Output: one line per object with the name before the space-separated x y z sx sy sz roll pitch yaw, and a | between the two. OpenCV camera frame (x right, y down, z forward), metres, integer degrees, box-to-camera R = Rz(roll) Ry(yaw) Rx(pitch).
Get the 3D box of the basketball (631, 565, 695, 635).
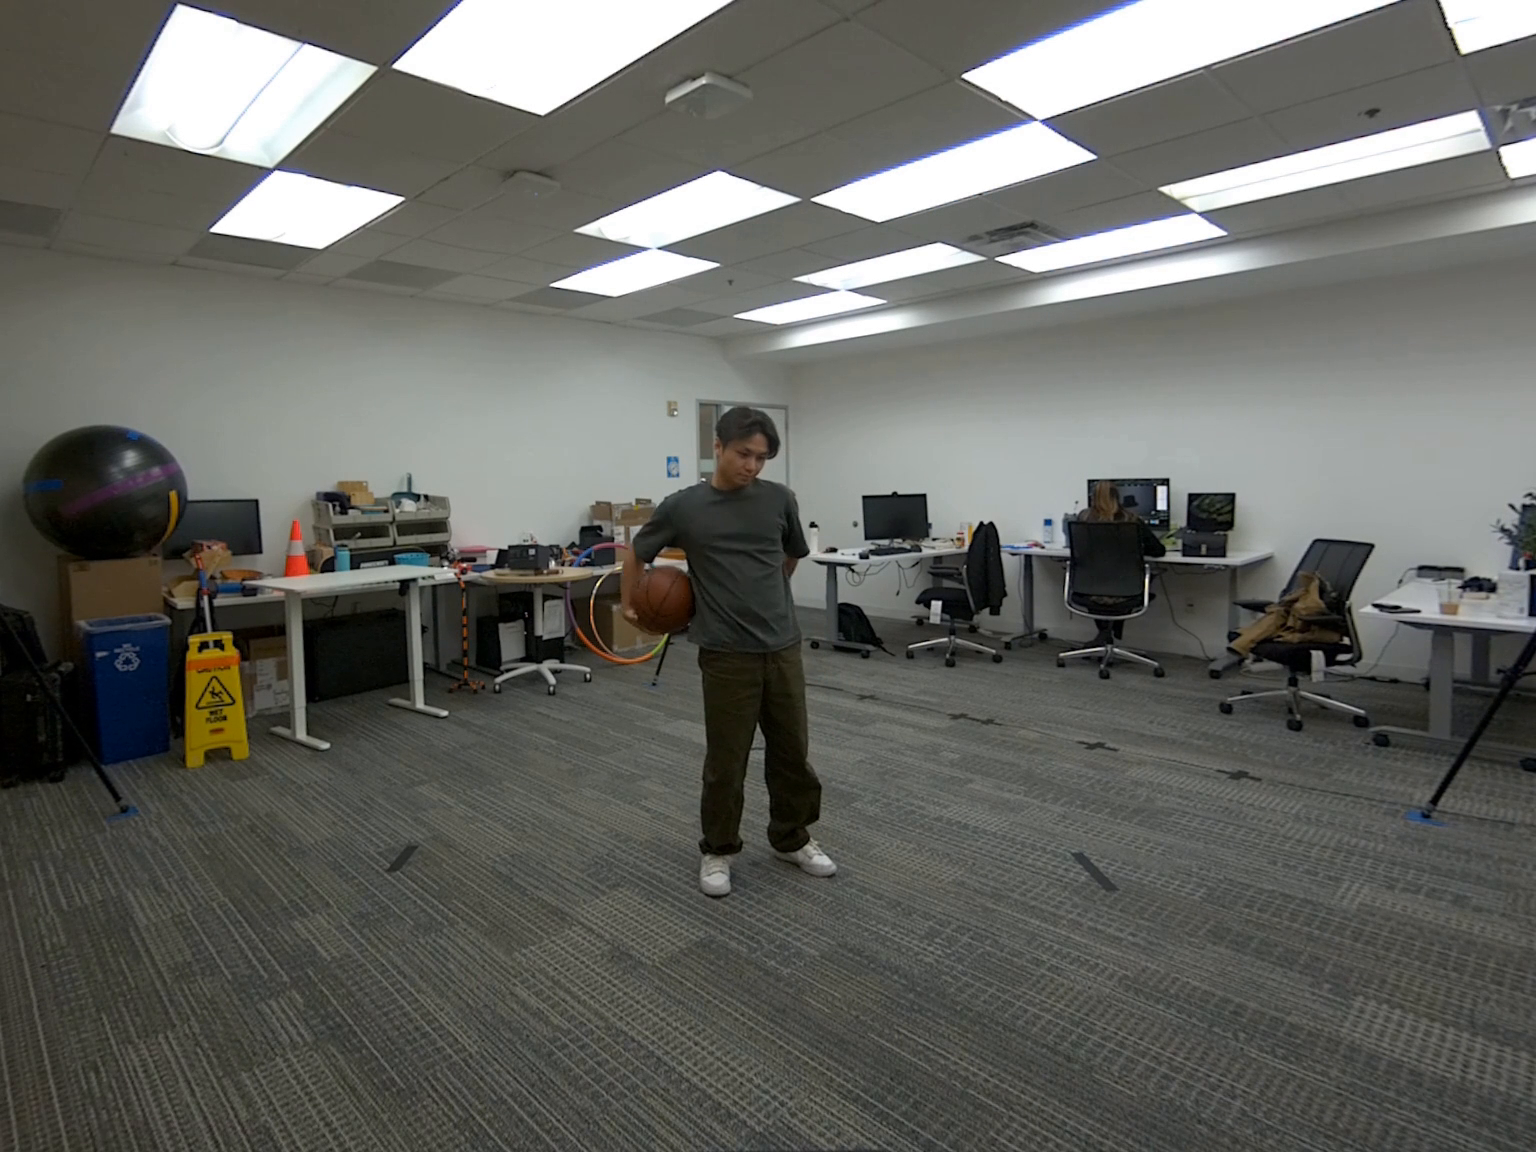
basketball | -0.341 0.074 3.022 0.236 0.235 0.237 -1 5 -2
